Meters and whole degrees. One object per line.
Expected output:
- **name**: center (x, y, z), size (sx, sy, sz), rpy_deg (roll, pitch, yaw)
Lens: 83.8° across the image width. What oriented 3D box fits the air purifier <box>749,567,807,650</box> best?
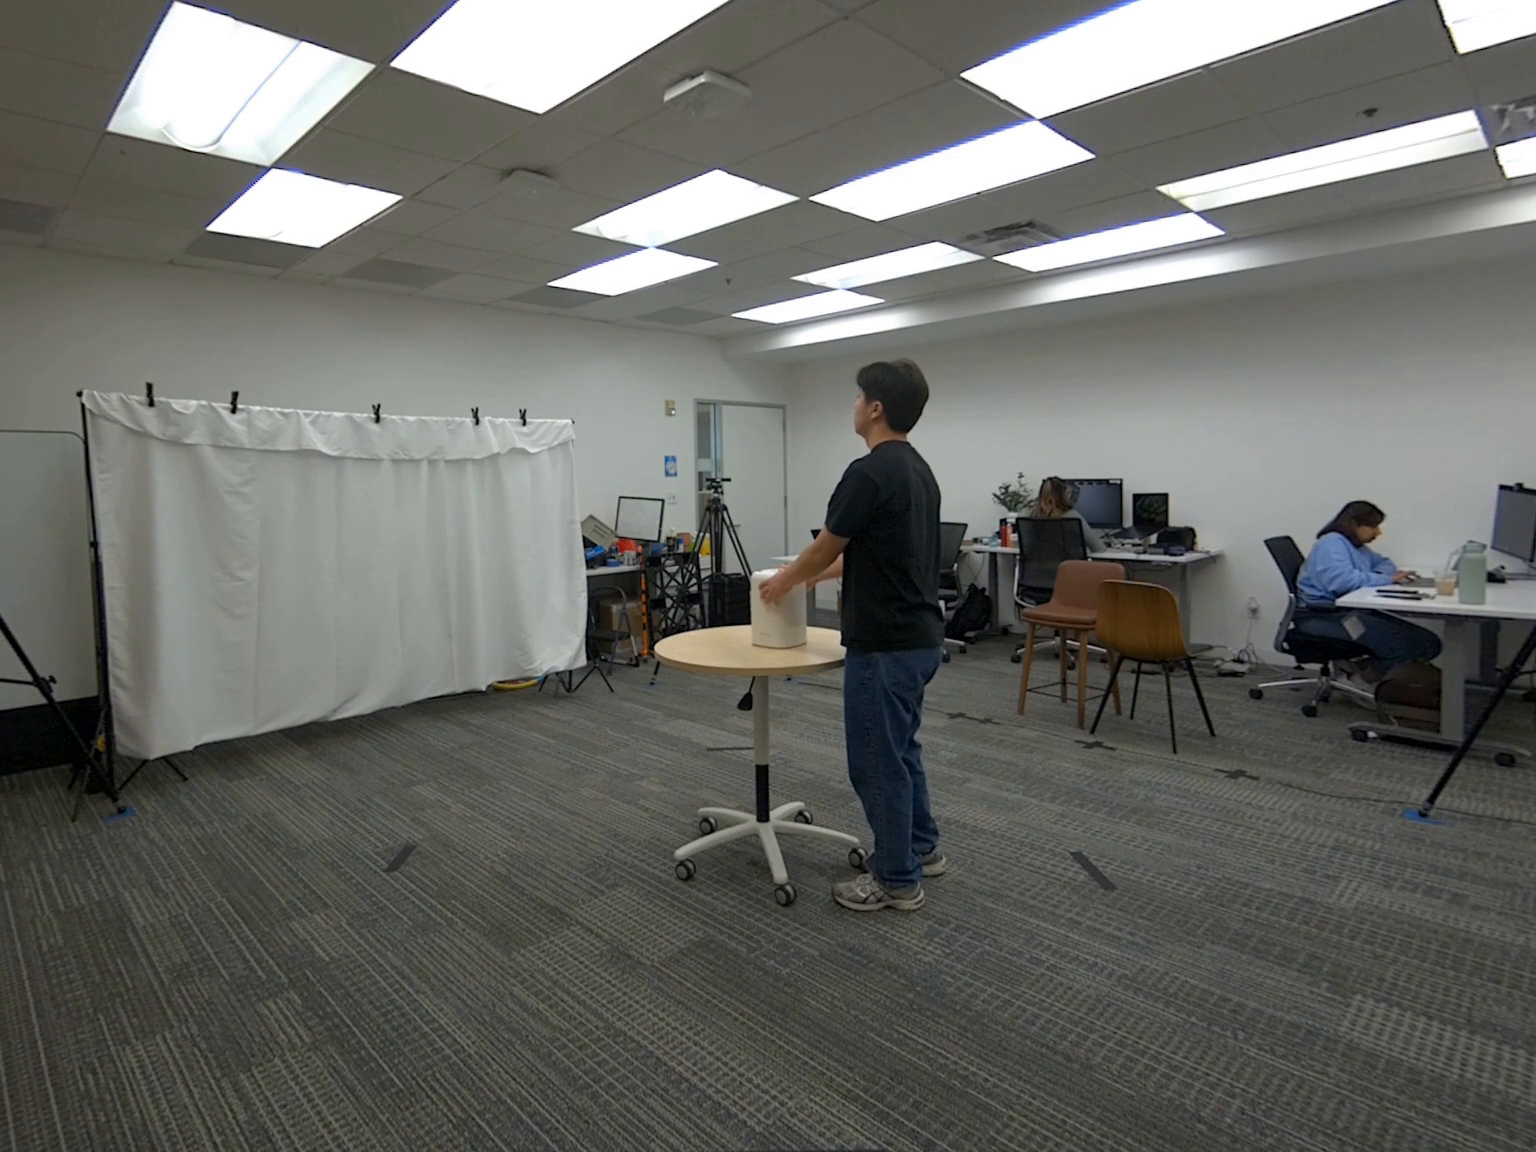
- **air purifier**: center (0.040, 0.113, 3.092), size (0.176, 0.264, 0.167), rpy_deg (2, 5, 43)
